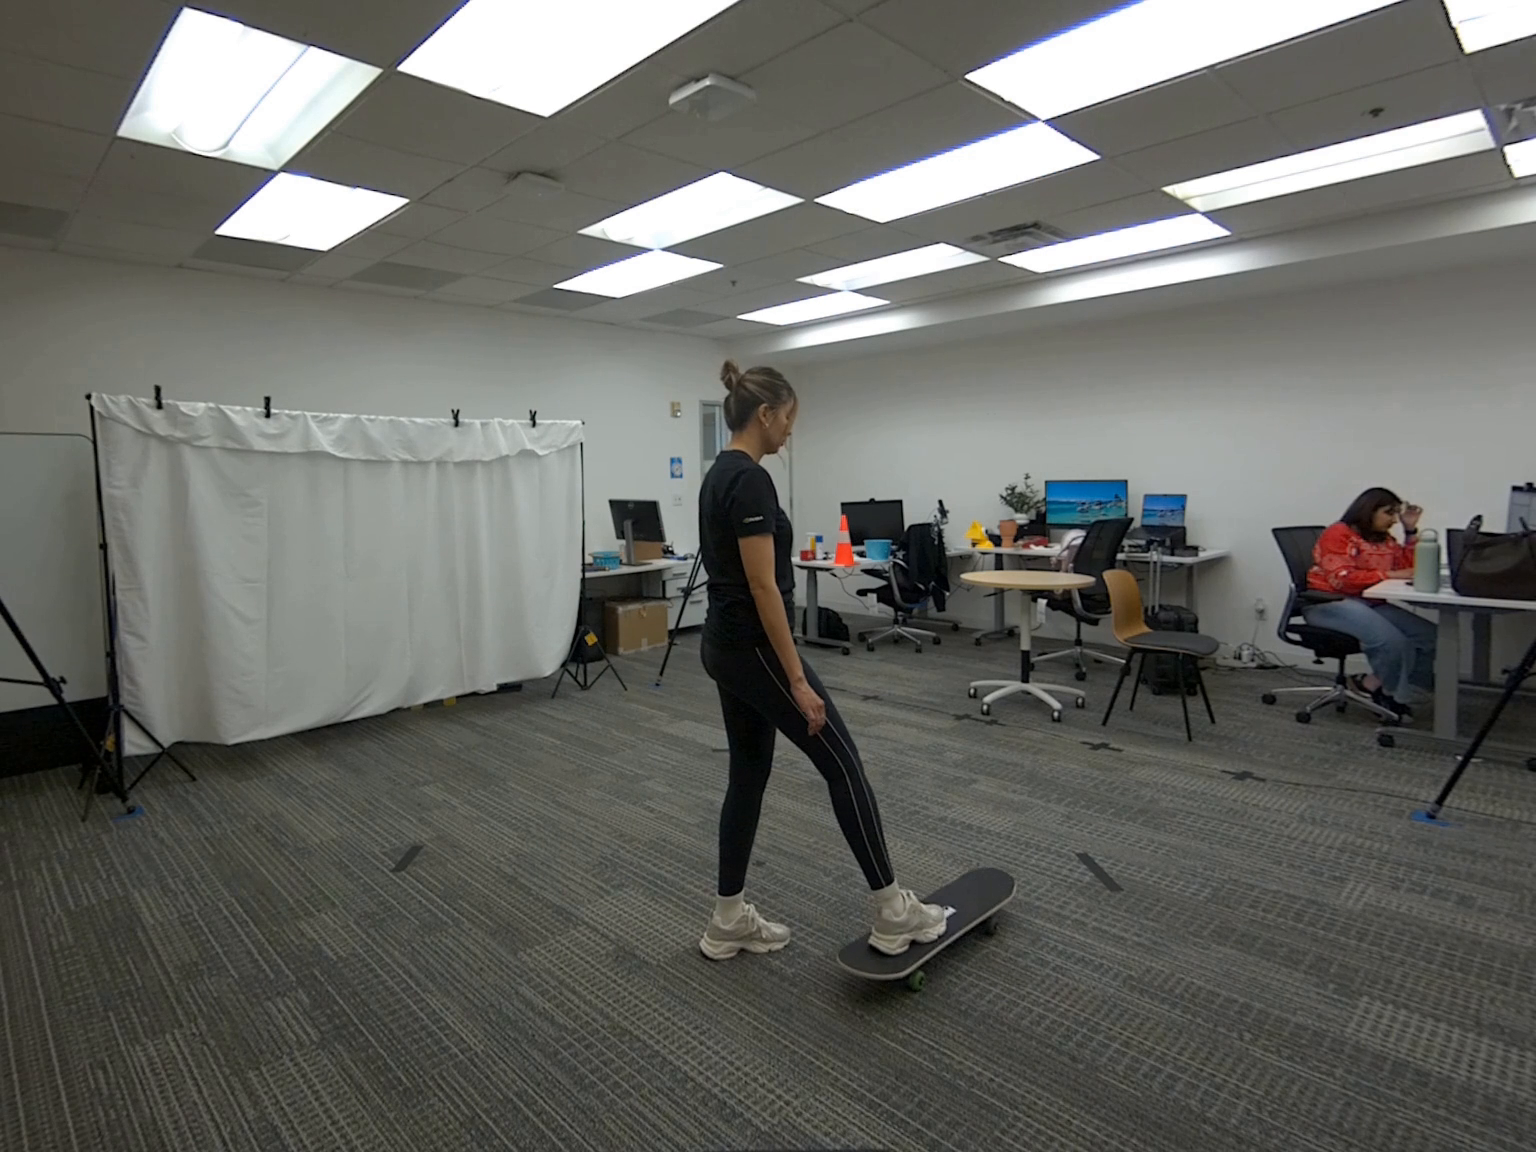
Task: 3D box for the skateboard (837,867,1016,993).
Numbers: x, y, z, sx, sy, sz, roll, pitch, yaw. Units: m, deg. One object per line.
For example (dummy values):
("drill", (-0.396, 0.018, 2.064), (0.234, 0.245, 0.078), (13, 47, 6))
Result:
("skateboard", (0.490, 1.051, 2.520), (0.199, 0.110, 0.765), (4, 8, 44))
